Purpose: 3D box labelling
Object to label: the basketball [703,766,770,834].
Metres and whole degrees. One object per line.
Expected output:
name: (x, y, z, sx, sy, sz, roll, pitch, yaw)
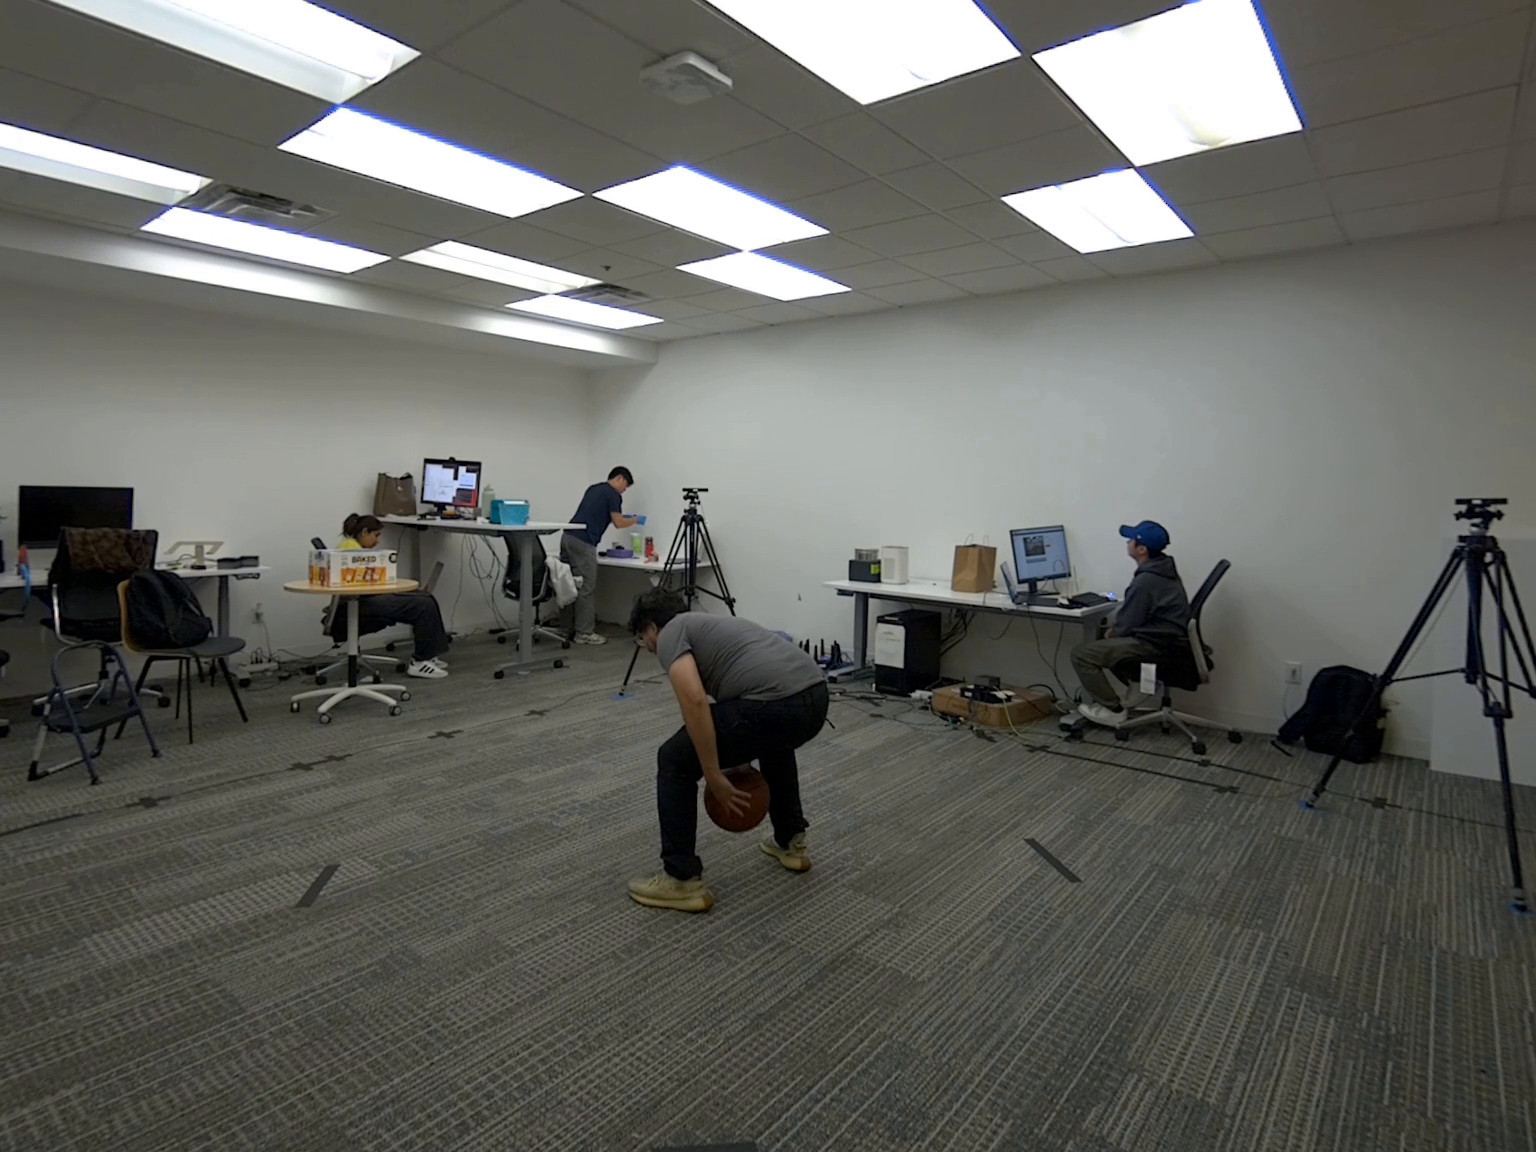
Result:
basketball: (-0.123, 0.781, 3.032, 0.235, 0.235, 0.237, 1, 4, -2)
